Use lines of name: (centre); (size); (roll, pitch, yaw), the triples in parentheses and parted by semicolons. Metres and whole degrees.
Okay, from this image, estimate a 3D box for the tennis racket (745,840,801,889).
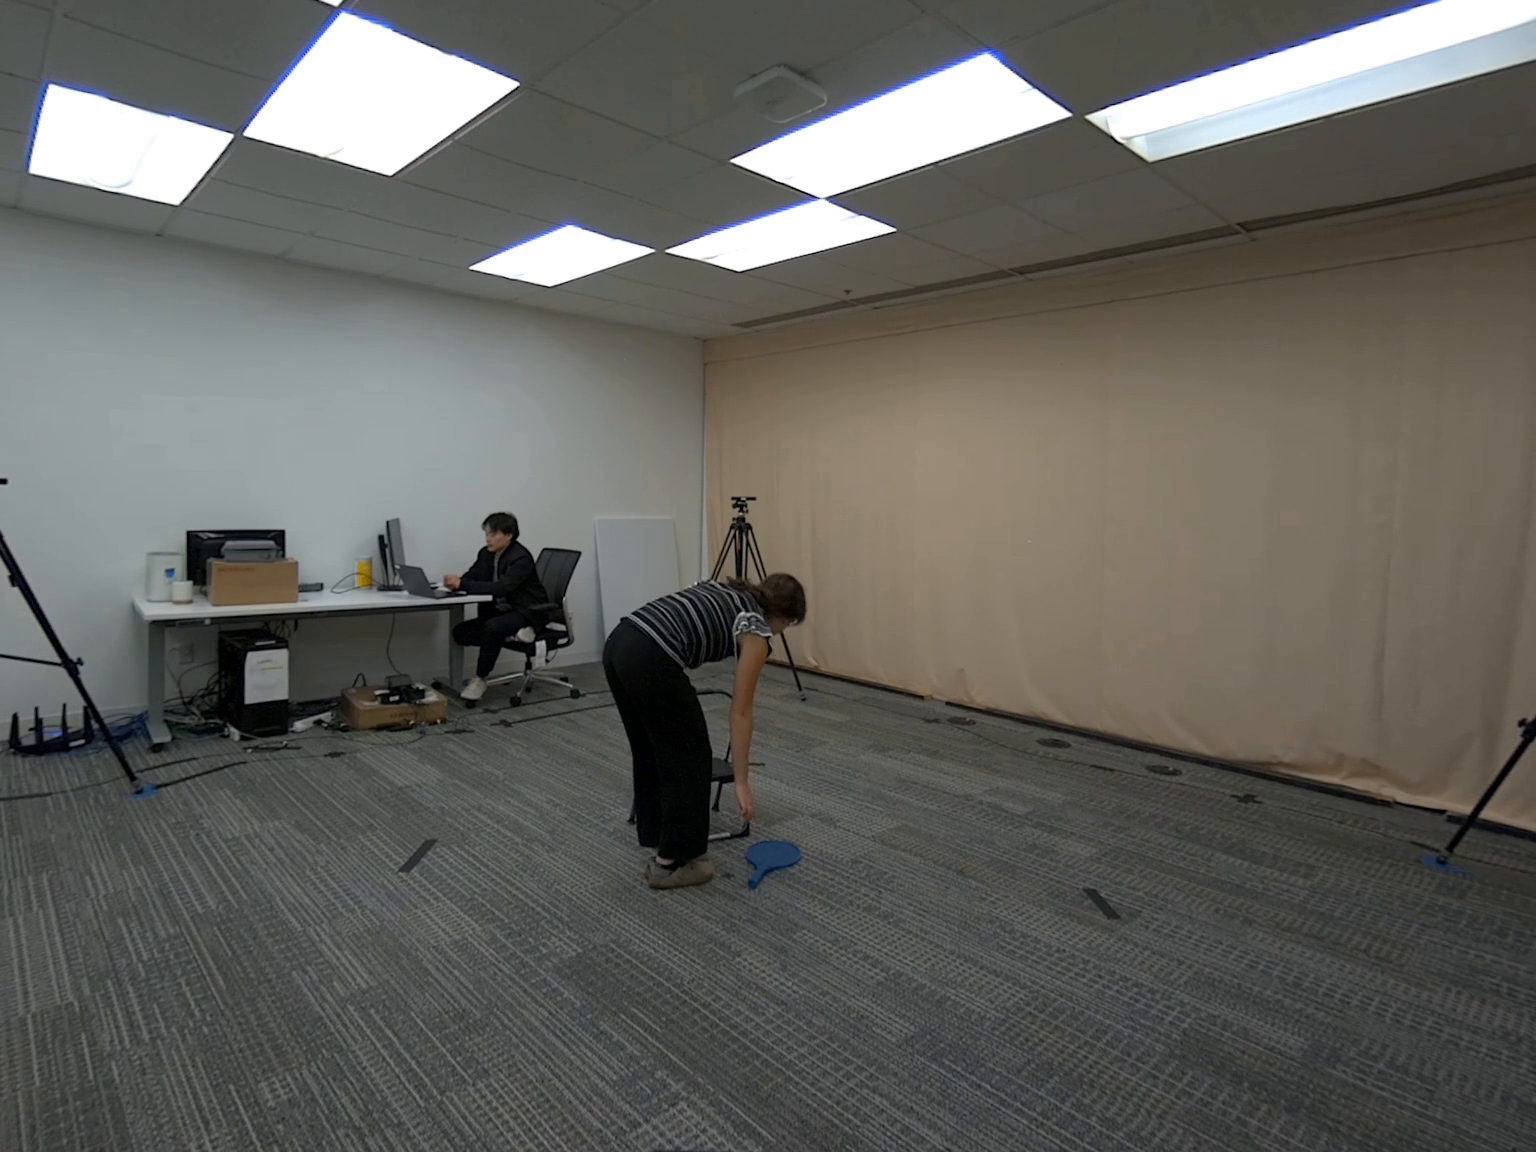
tennis racket: (-0.011, 1.085, 3.211); (0.217, 0.032, 0.427); (3, 3, 16)
